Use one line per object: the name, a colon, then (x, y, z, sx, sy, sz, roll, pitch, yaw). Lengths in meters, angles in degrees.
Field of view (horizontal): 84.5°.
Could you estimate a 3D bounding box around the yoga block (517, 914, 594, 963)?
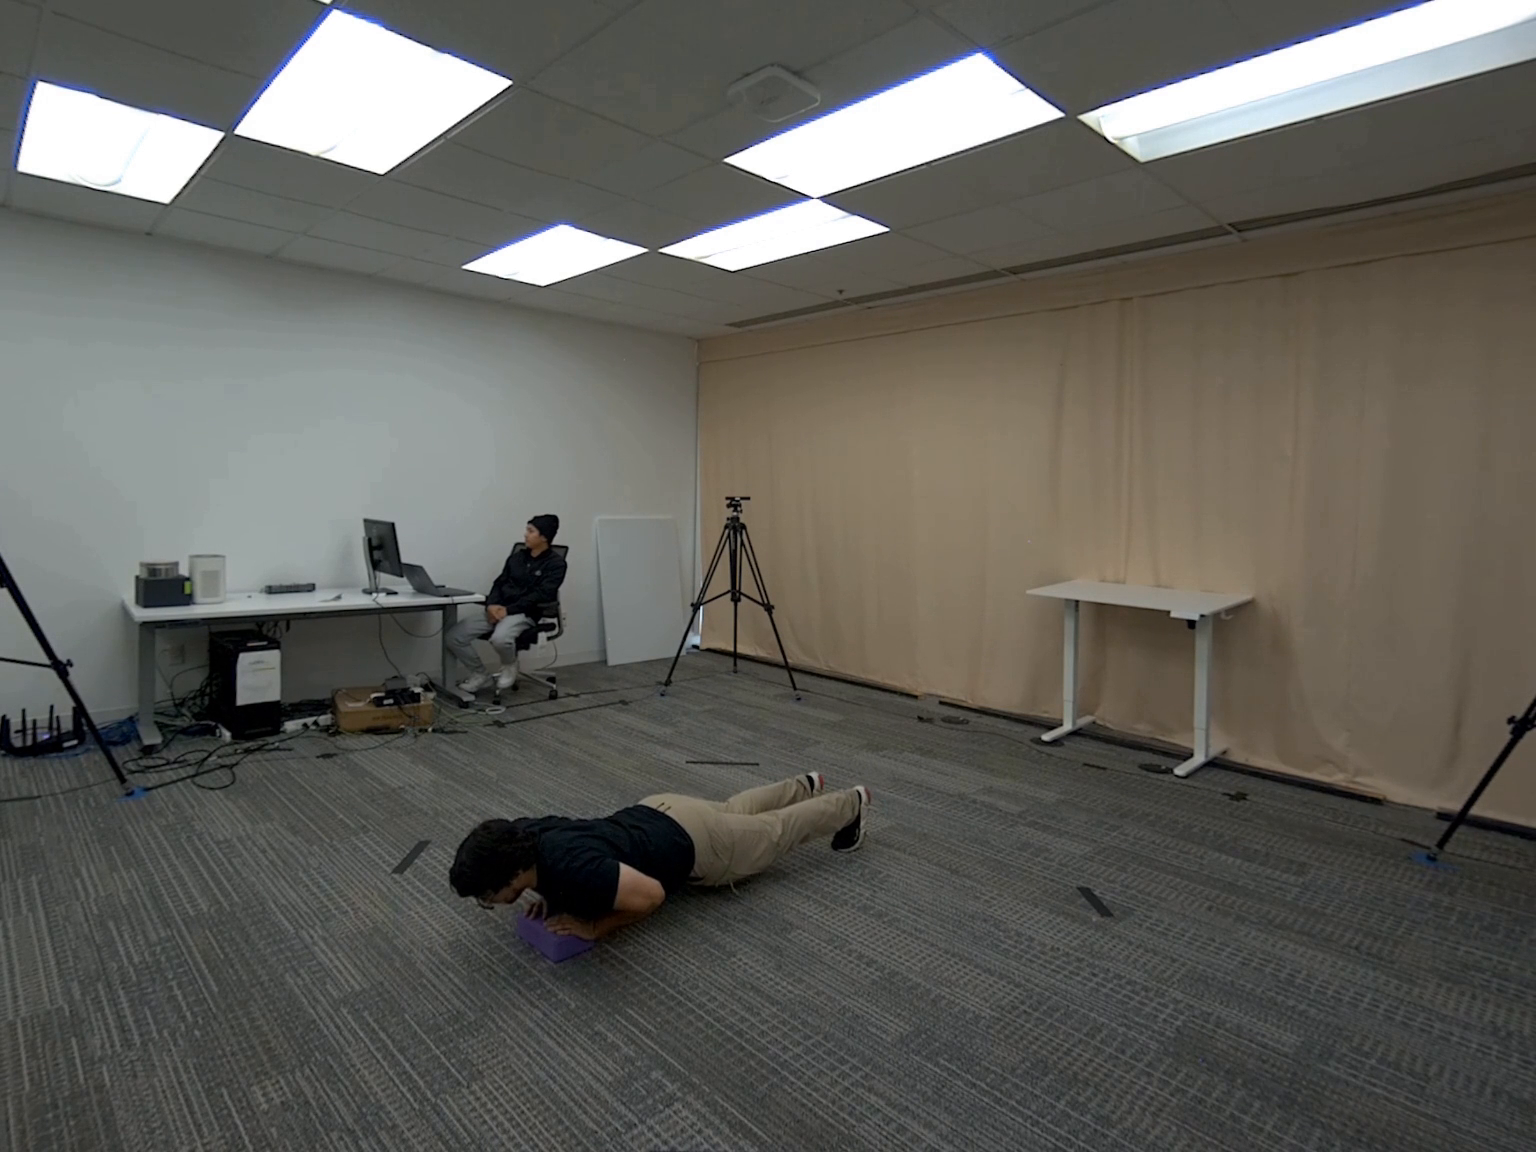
yoga block: (-0.668, 1.098, 2.628, 0.145, 0.076, 0.235, 1, 1, -44)
